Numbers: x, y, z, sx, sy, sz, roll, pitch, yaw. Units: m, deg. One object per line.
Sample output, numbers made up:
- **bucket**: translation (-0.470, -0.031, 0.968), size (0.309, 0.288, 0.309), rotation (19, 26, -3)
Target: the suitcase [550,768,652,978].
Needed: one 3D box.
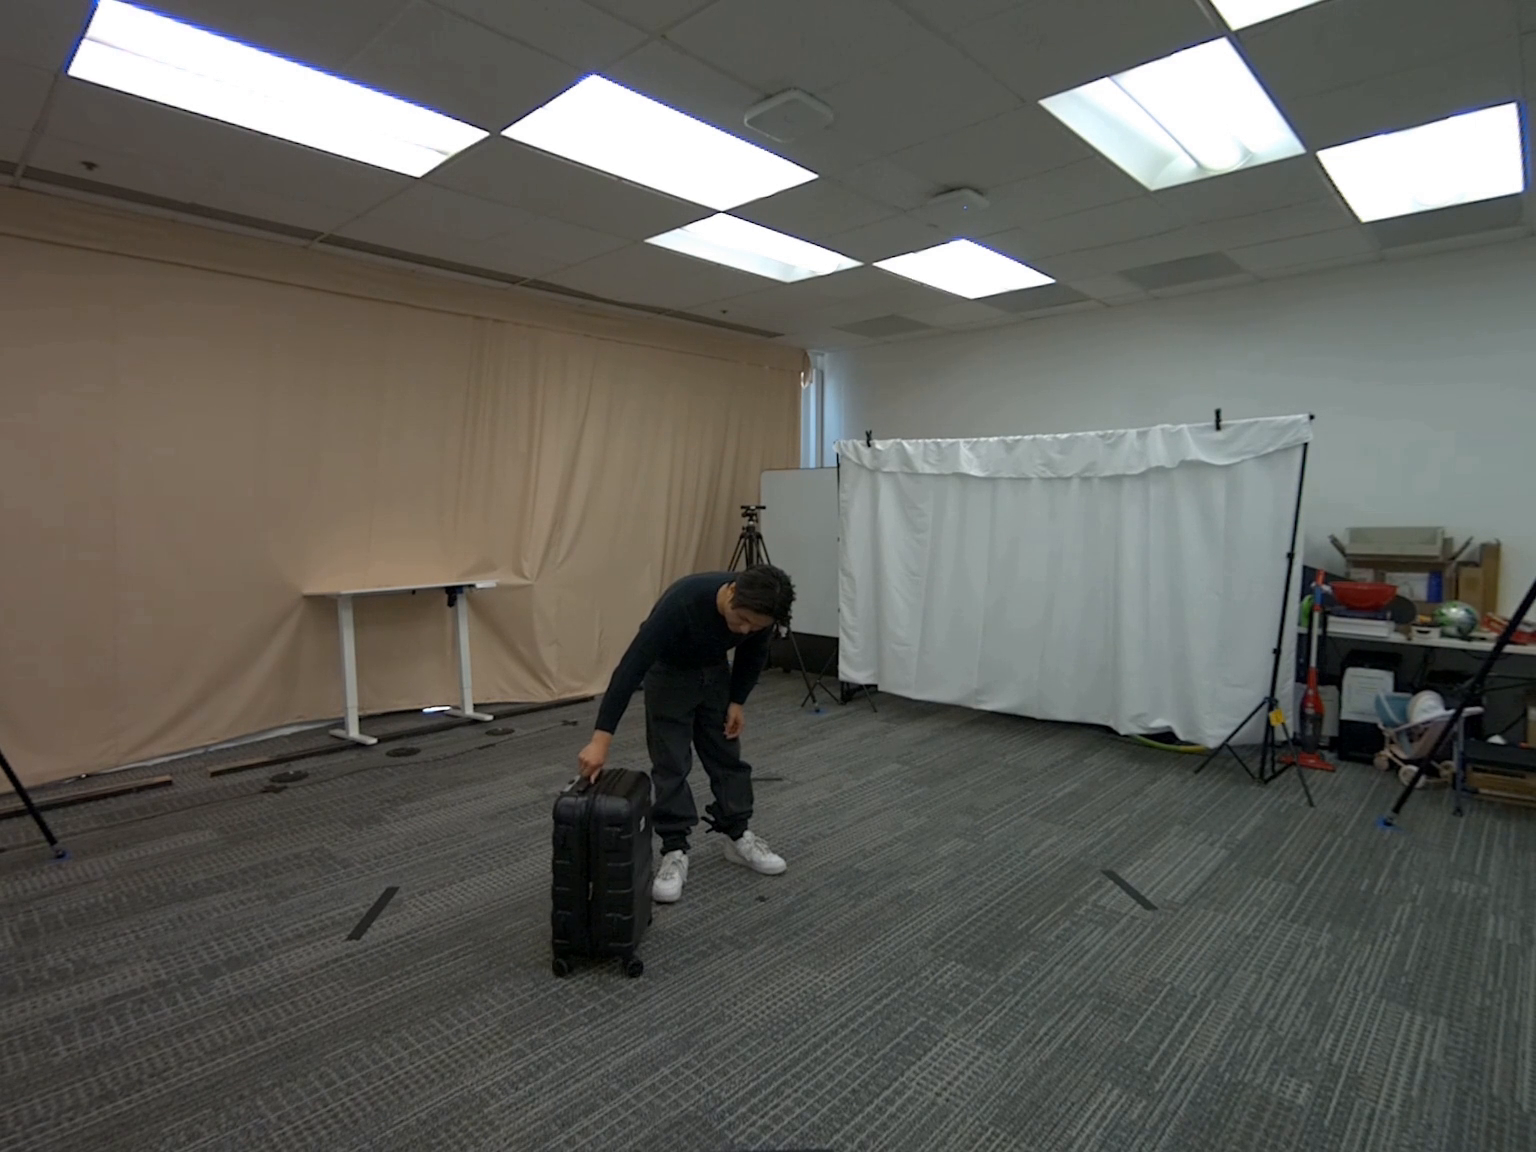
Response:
- **suitcase**: translation (-0.518, 0.902, 2.636), size (0.249, 0.548, 0.374), rotation (1, 3, 3)
